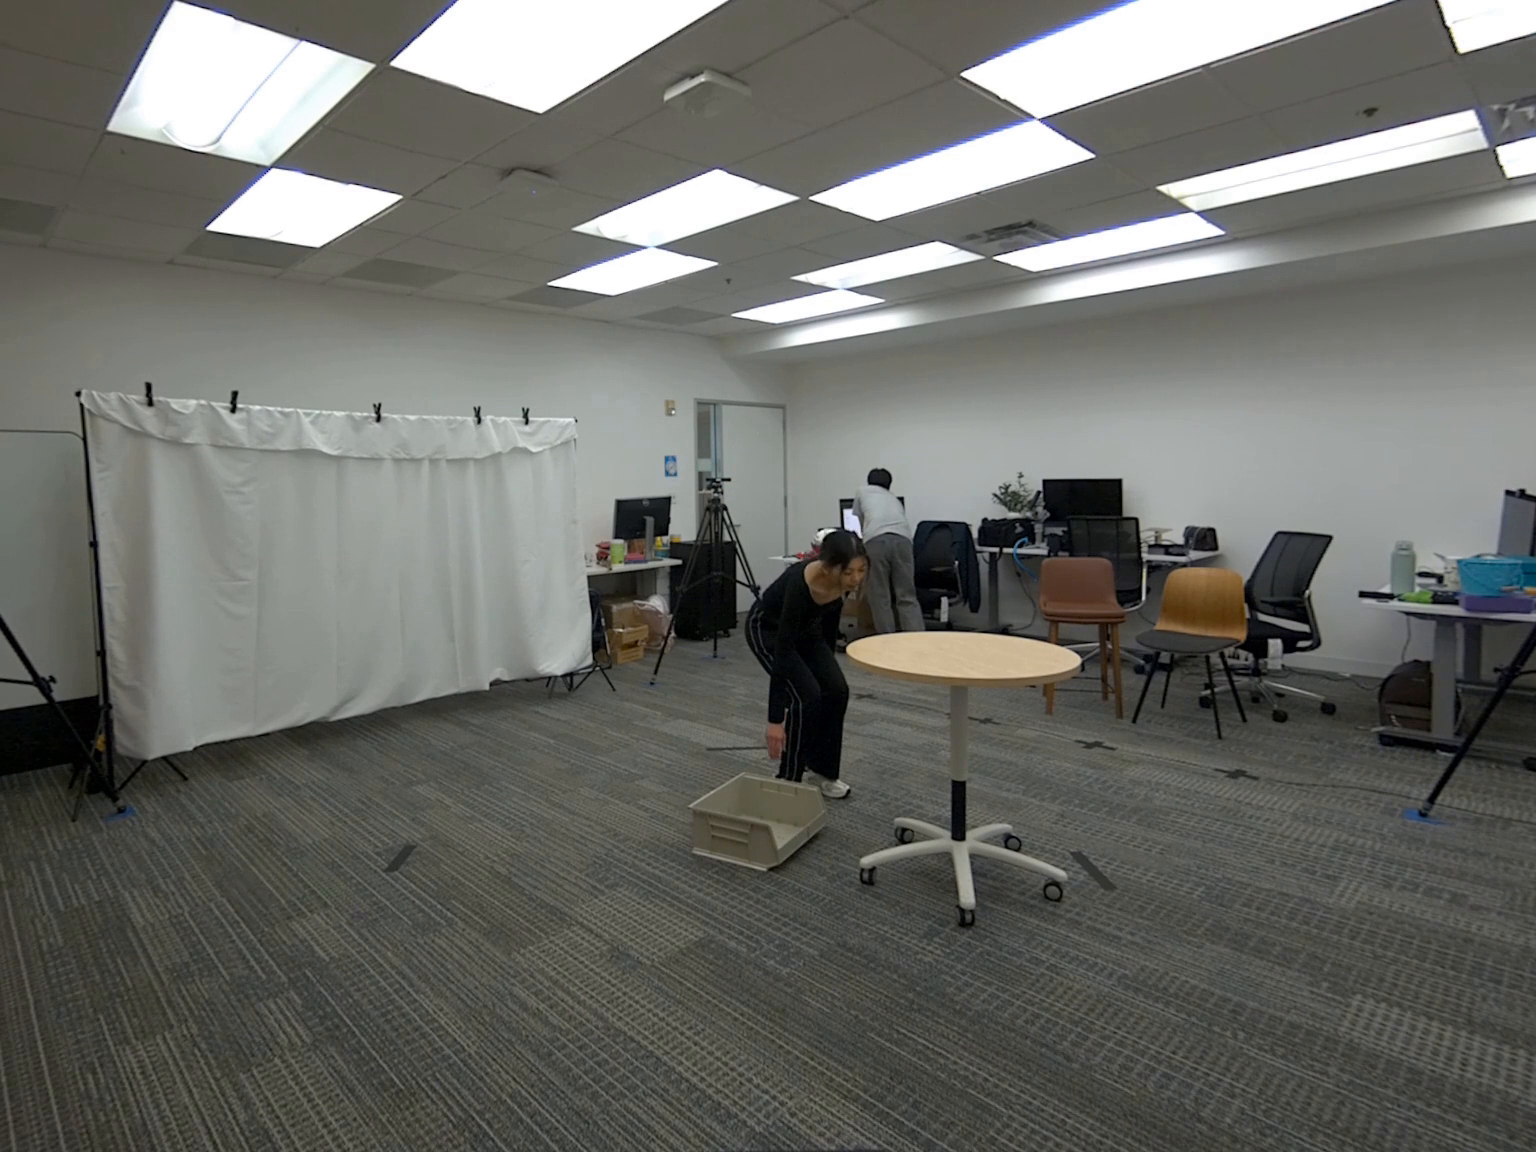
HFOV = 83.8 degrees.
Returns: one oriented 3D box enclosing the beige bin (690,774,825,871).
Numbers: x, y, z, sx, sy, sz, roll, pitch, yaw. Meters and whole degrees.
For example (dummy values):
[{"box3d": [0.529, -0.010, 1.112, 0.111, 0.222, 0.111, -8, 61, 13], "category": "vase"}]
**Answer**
[{"box3d": [-0.031, 0.936, 3.272, 0.387, 0.188, 0.413, 1, 7, 29], "category": "beige bin"}]
